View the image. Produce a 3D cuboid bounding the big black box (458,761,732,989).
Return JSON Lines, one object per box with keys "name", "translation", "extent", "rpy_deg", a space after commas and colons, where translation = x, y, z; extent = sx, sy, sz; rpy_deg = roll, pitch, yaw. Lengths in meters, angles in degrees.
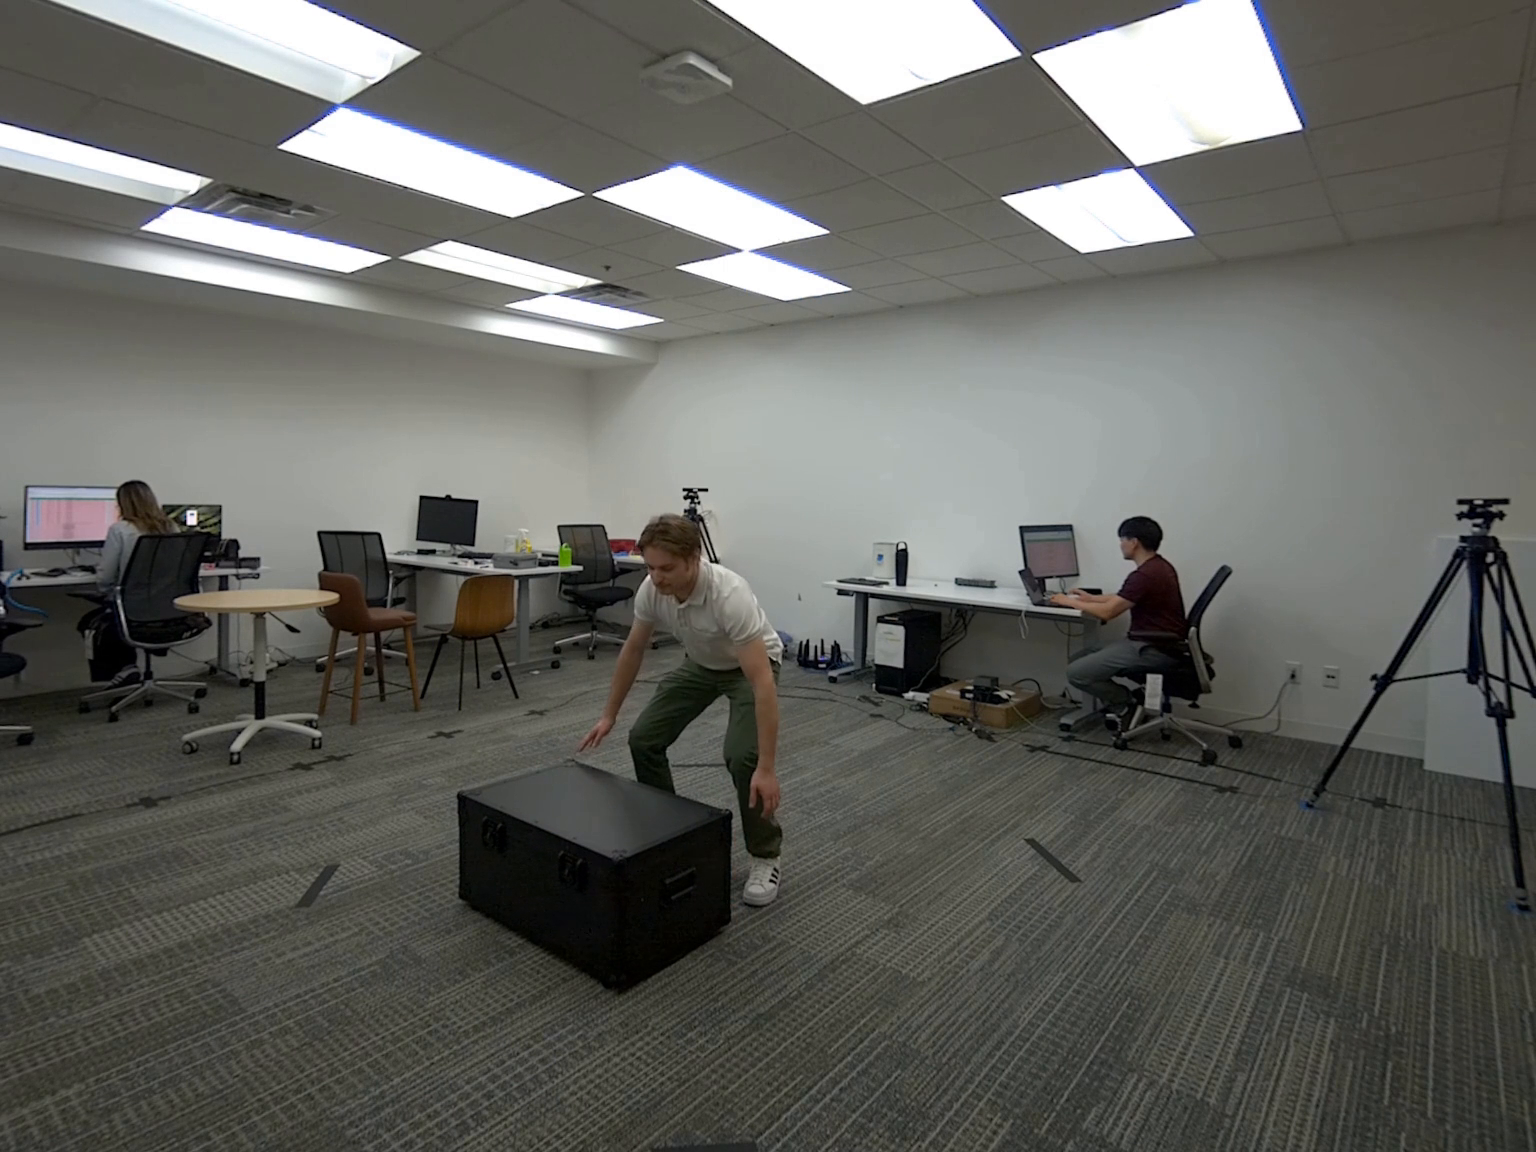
{"name": "big black box", "translation": [-0.602, 0.902, 2.763], "extent": [0.897, 0.383, 0.509], "rpy_deg": [5, 7, 39]}
